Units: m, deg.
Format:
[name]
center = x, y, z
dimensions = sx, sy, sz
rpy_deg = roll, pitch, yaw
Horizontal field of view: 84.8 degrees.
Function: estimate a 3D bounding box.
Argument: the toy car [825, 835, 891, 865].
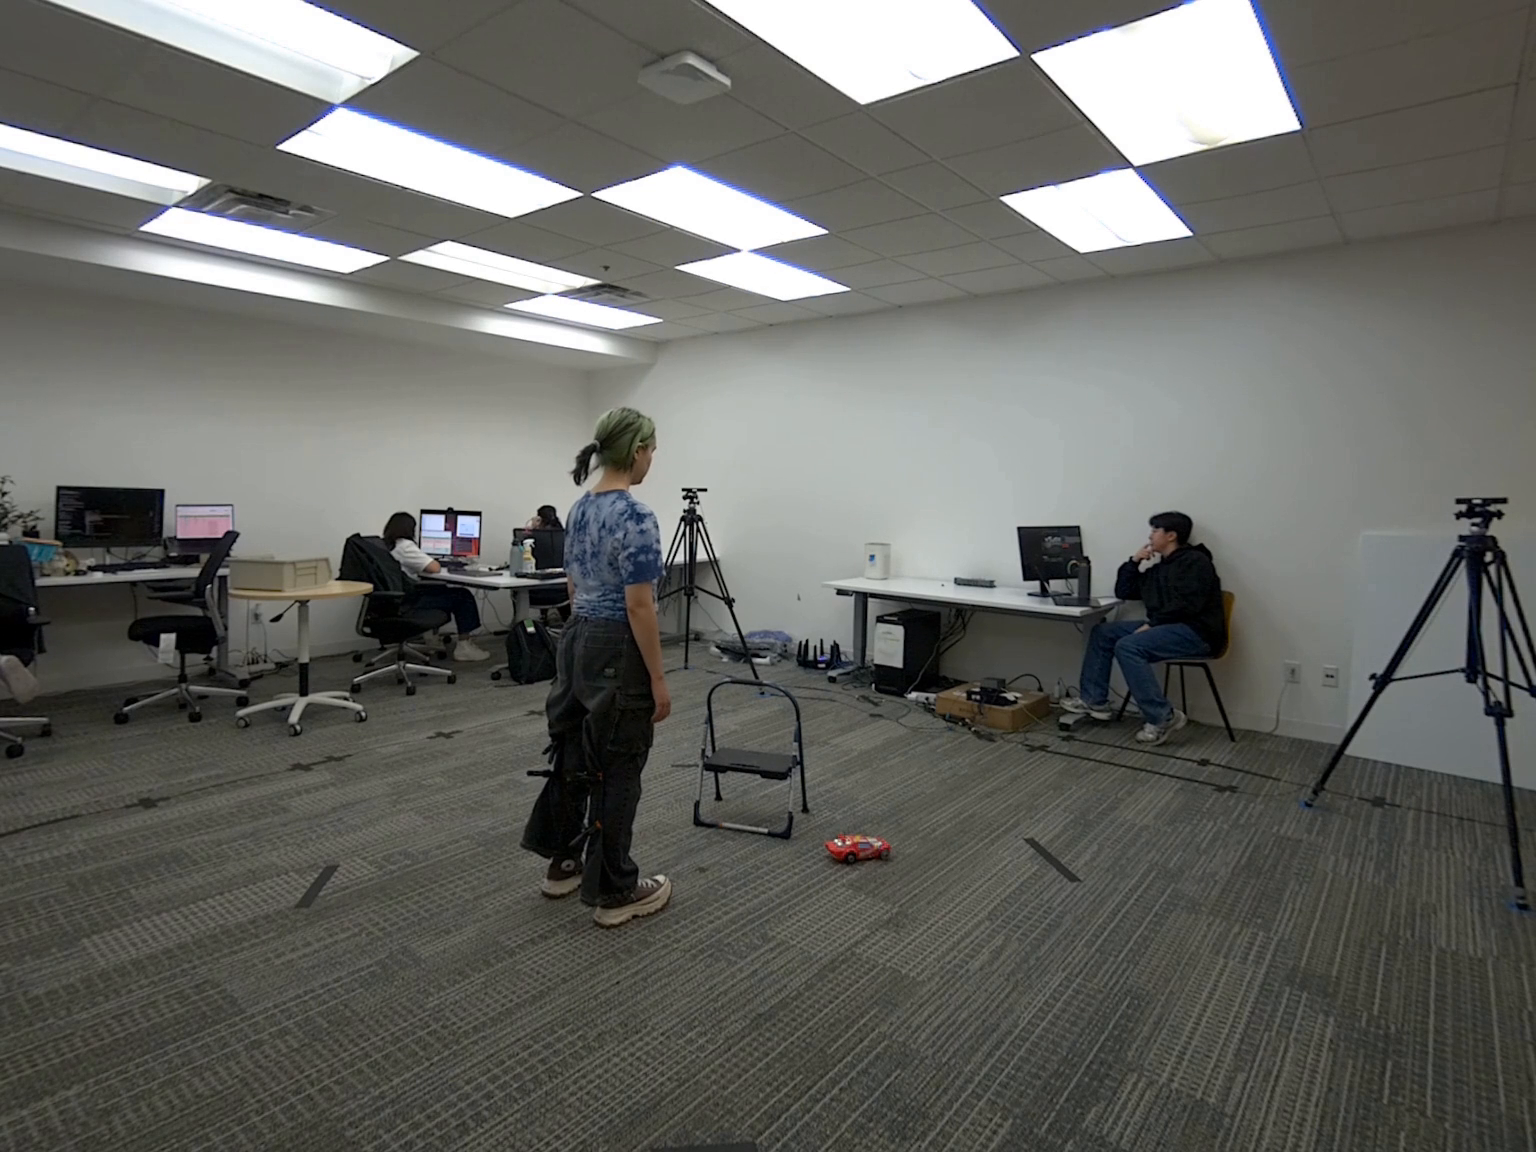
[toy car]
center = 0.331, 1.036, 3.240
dimensions = 0.249, 0.083, 0.133
rpy_deg = 10, 2, -18
